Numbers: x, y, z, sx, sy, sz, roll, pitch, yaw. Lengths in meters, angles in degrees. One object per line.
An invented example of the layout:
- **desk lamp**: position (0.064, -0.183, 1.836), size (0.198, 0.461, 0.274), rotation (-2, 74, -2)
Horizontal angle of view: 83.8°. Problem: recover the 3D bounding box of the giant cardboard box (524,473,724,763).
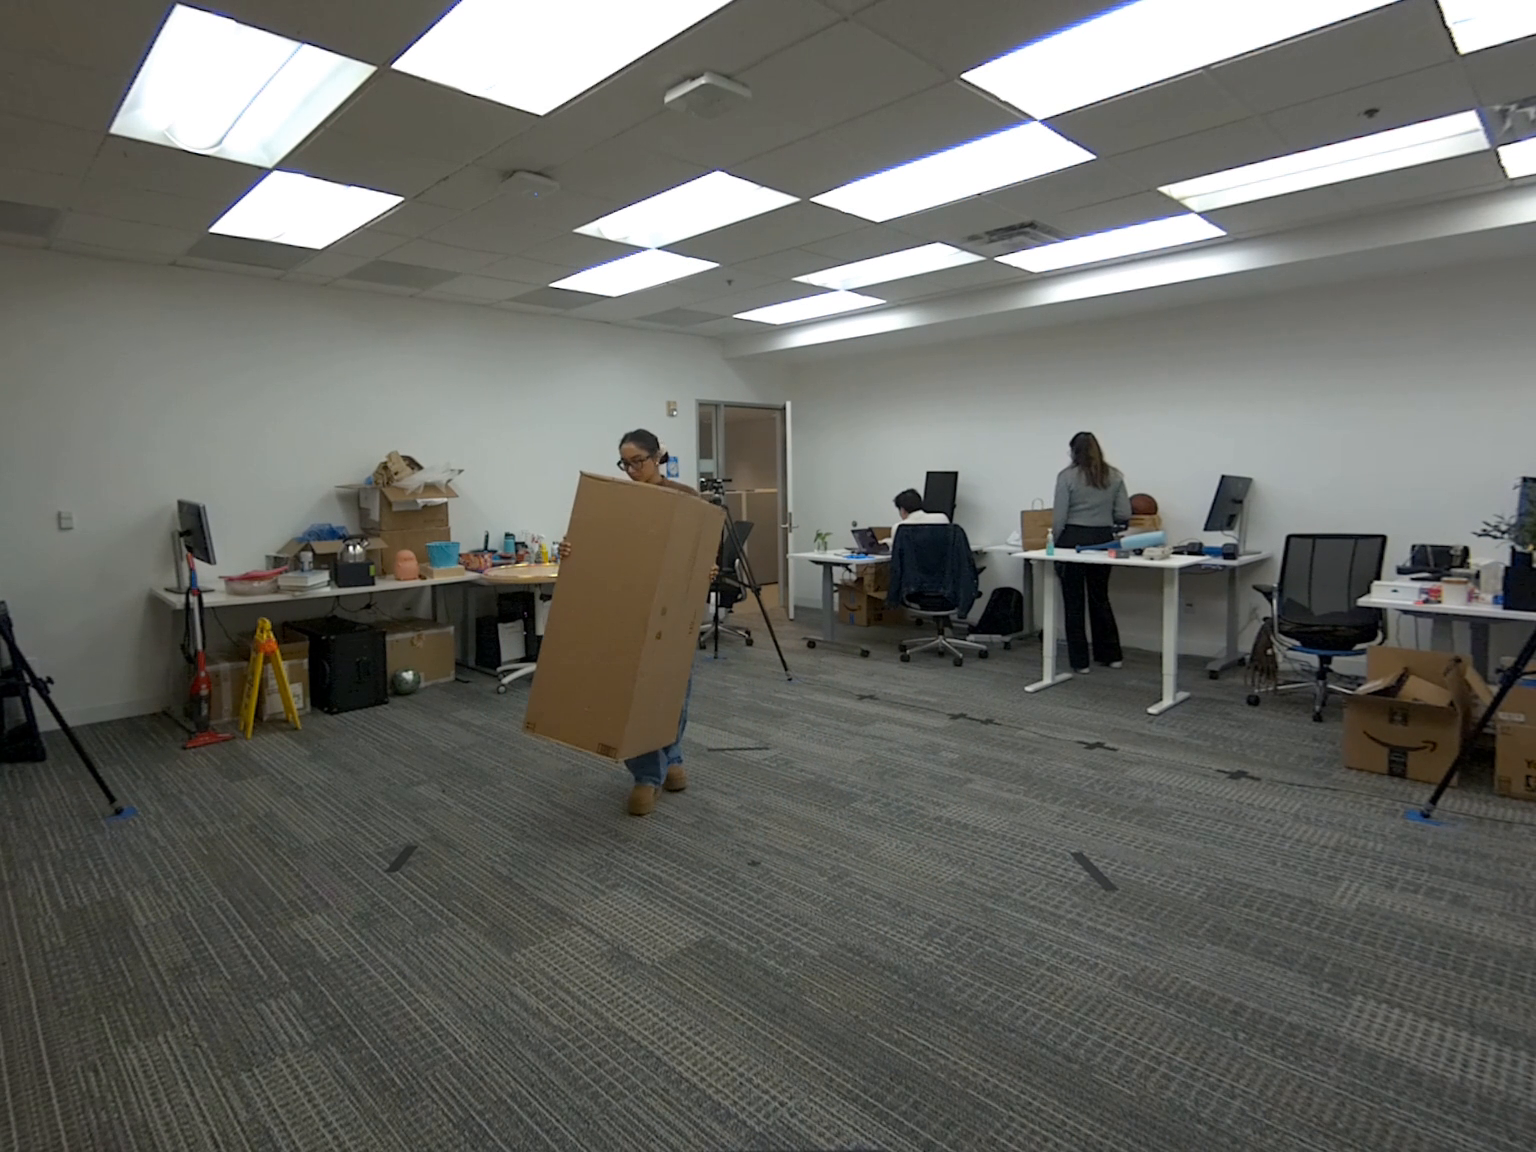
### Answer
- **giant cardboard box**: position (-0.567, 0.163, 3.460), size (0.435, 1.026, 0.565), rotation (13, 0, 18)
